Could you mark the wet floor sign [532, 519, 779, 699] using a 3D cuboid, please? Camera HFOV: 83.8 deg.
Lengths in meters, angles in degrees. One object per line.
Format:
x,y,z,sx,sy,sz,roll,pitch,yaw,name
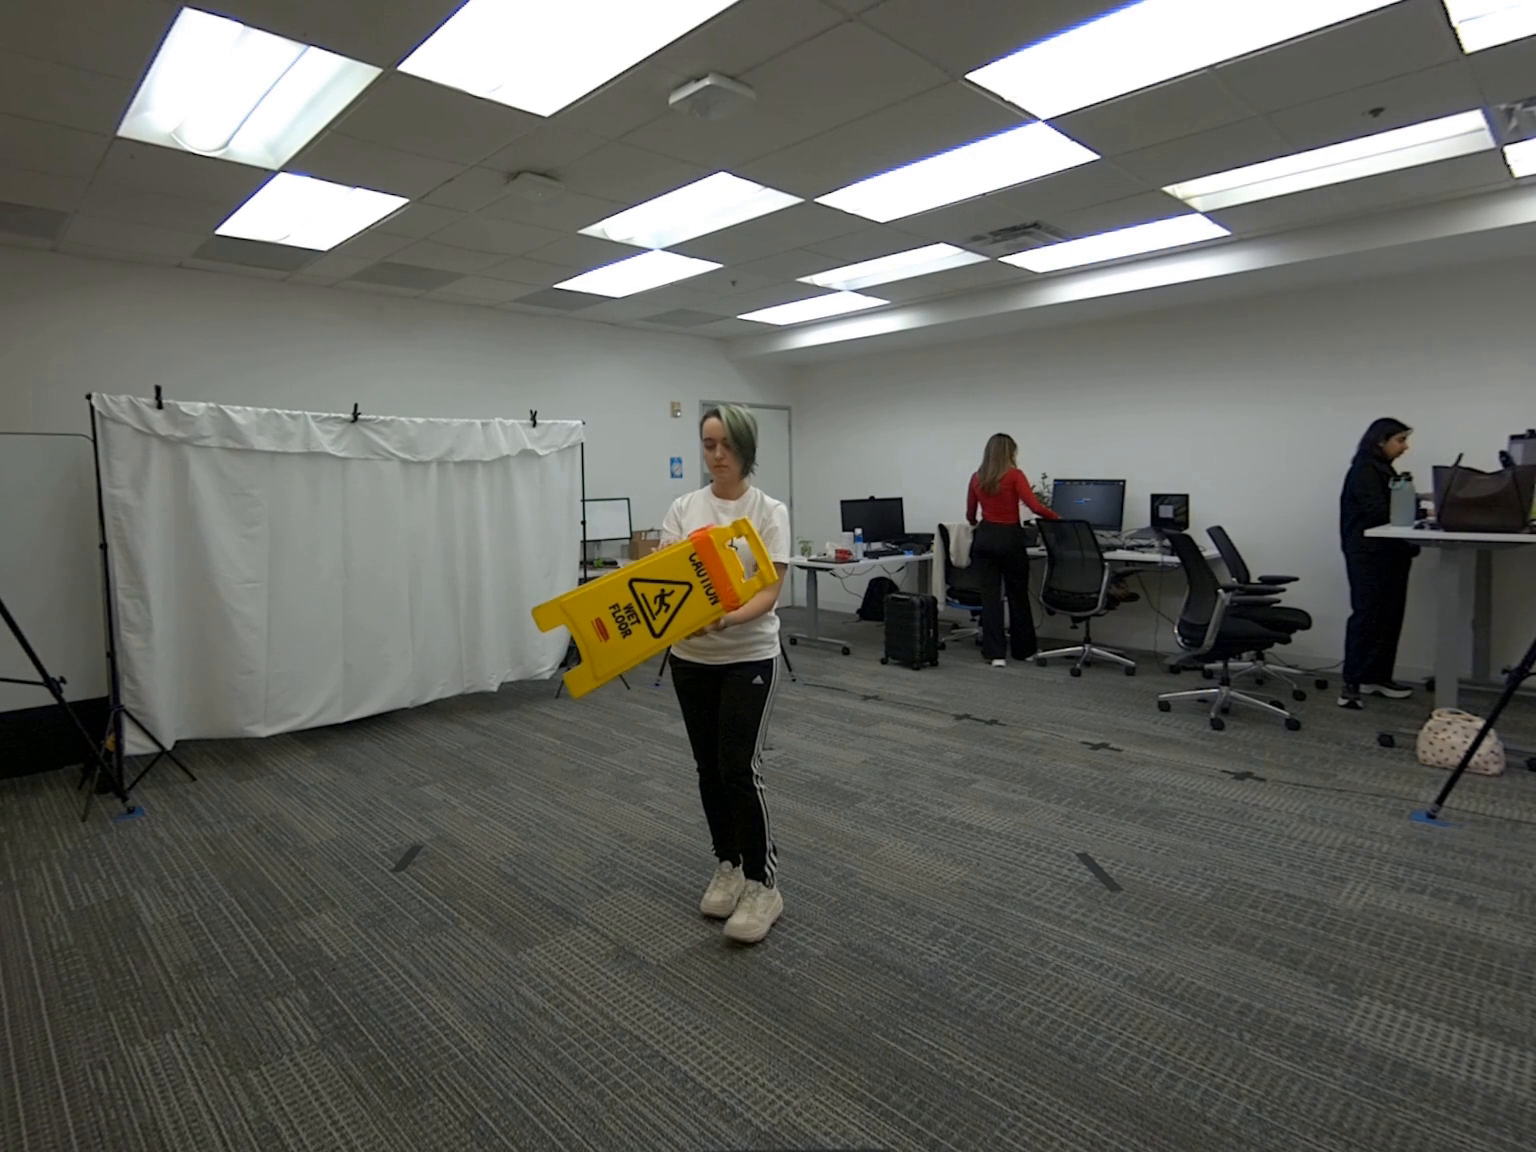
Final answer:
-0.288,0.071,2.378,0.650,0.283,0.287,-28,-2,16,wet floor sign
